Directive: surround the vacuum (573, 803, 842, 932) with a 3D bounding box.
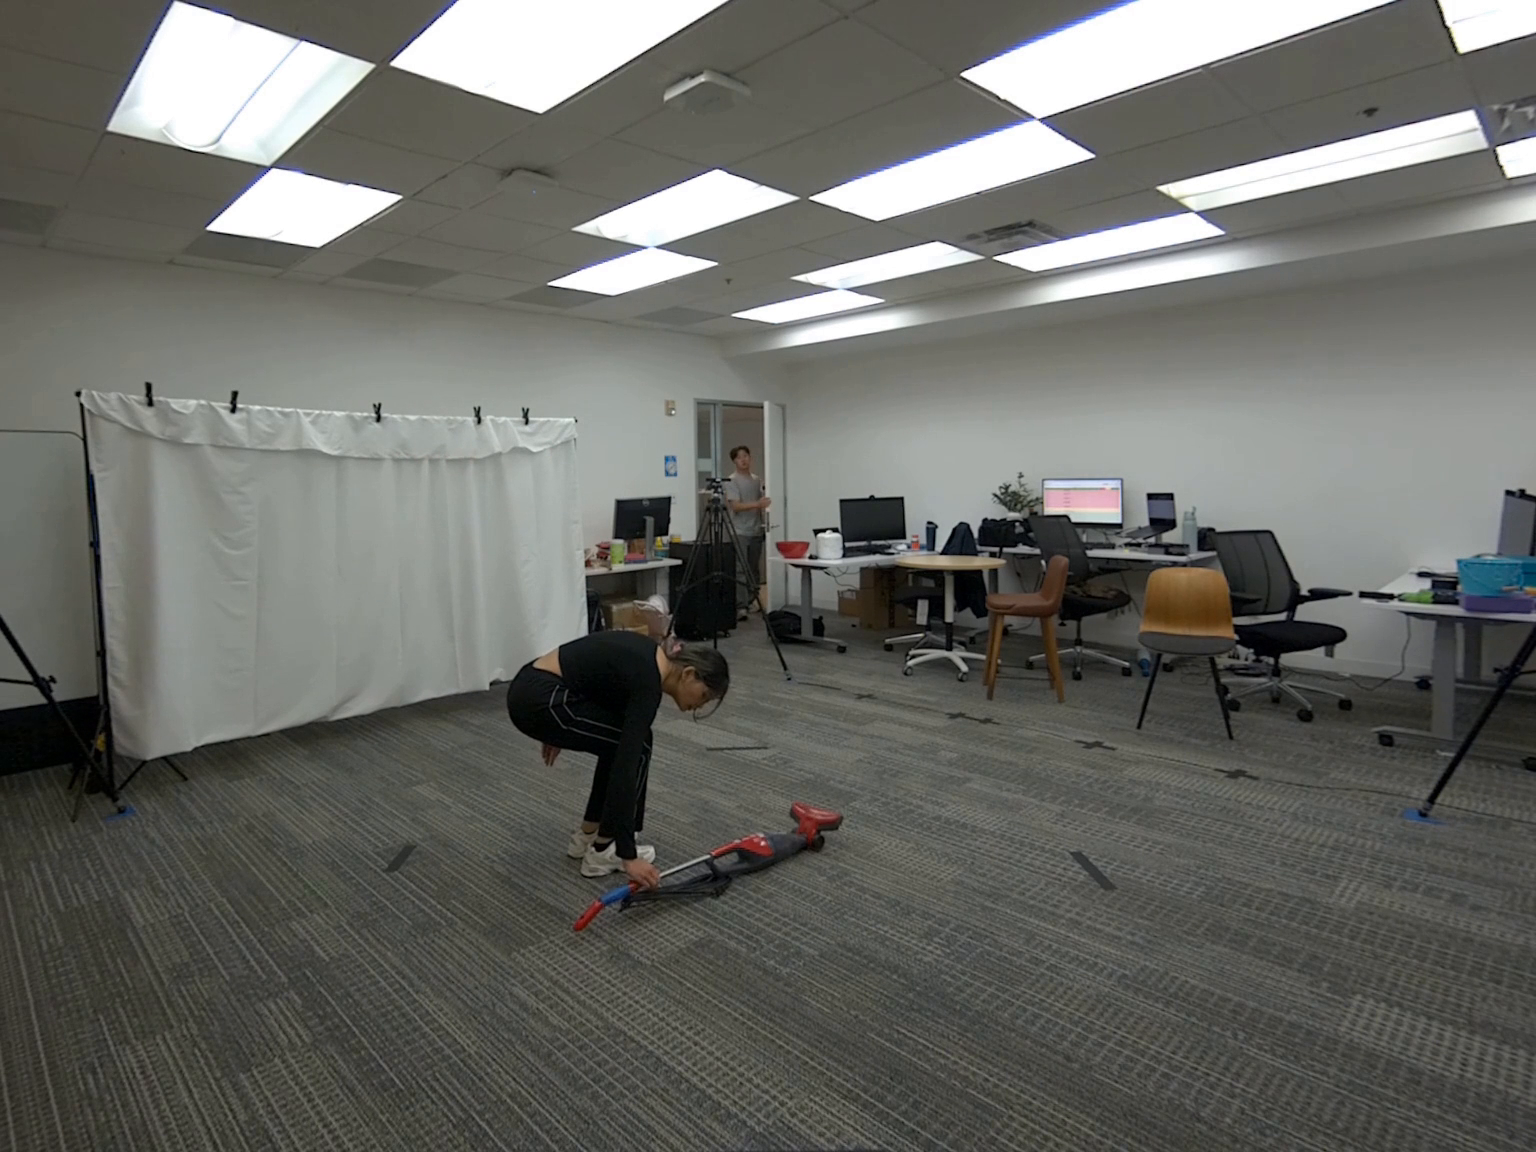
[{"bbox_3d":[-0.201,1.002,2.919,1.023,0.144,0.259,-9,4,-43],"label":"vacuum"}]
